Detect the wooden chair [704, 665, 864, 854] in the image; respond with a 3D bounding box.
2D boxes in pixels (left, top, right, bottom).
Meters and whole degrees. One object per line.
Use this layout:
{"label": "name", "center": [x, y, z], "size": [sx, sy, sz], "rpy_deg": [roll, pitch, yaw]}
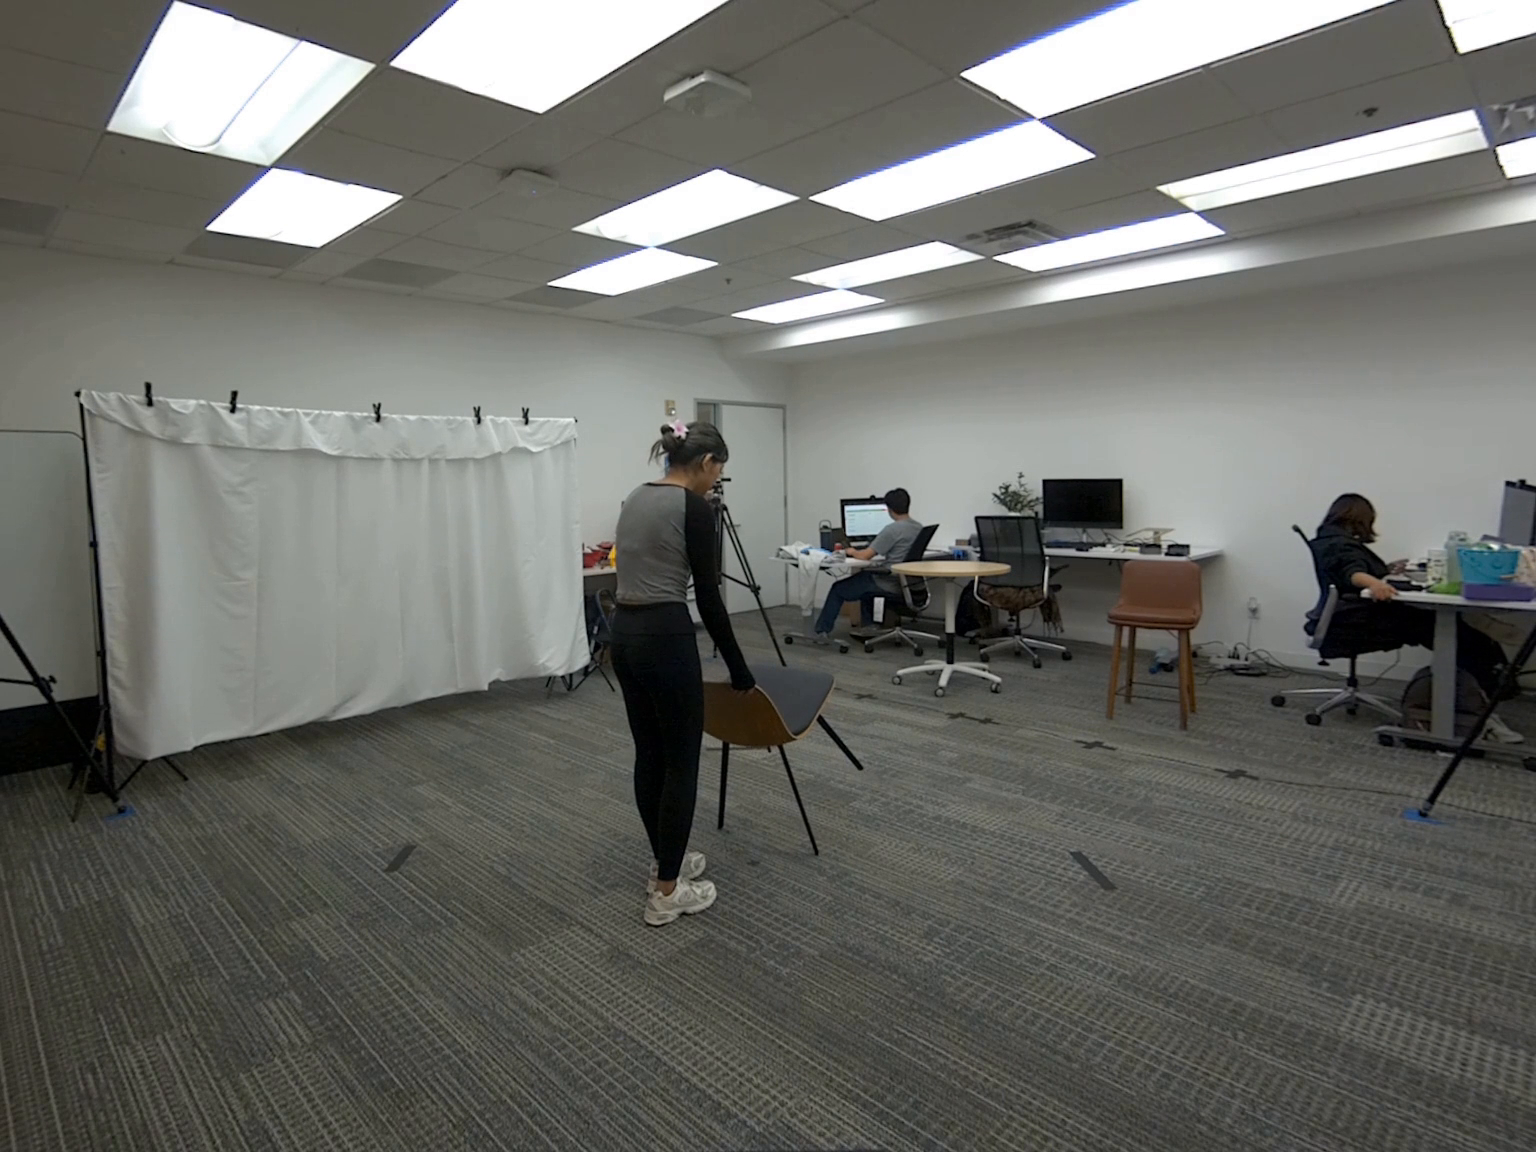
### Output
{"label": "wooden chair", "center": [-0.009, 0.539, 3.265], "size": [0.492, 0.850, 0.524], "rpy_deg": [3, 38, 34]}
